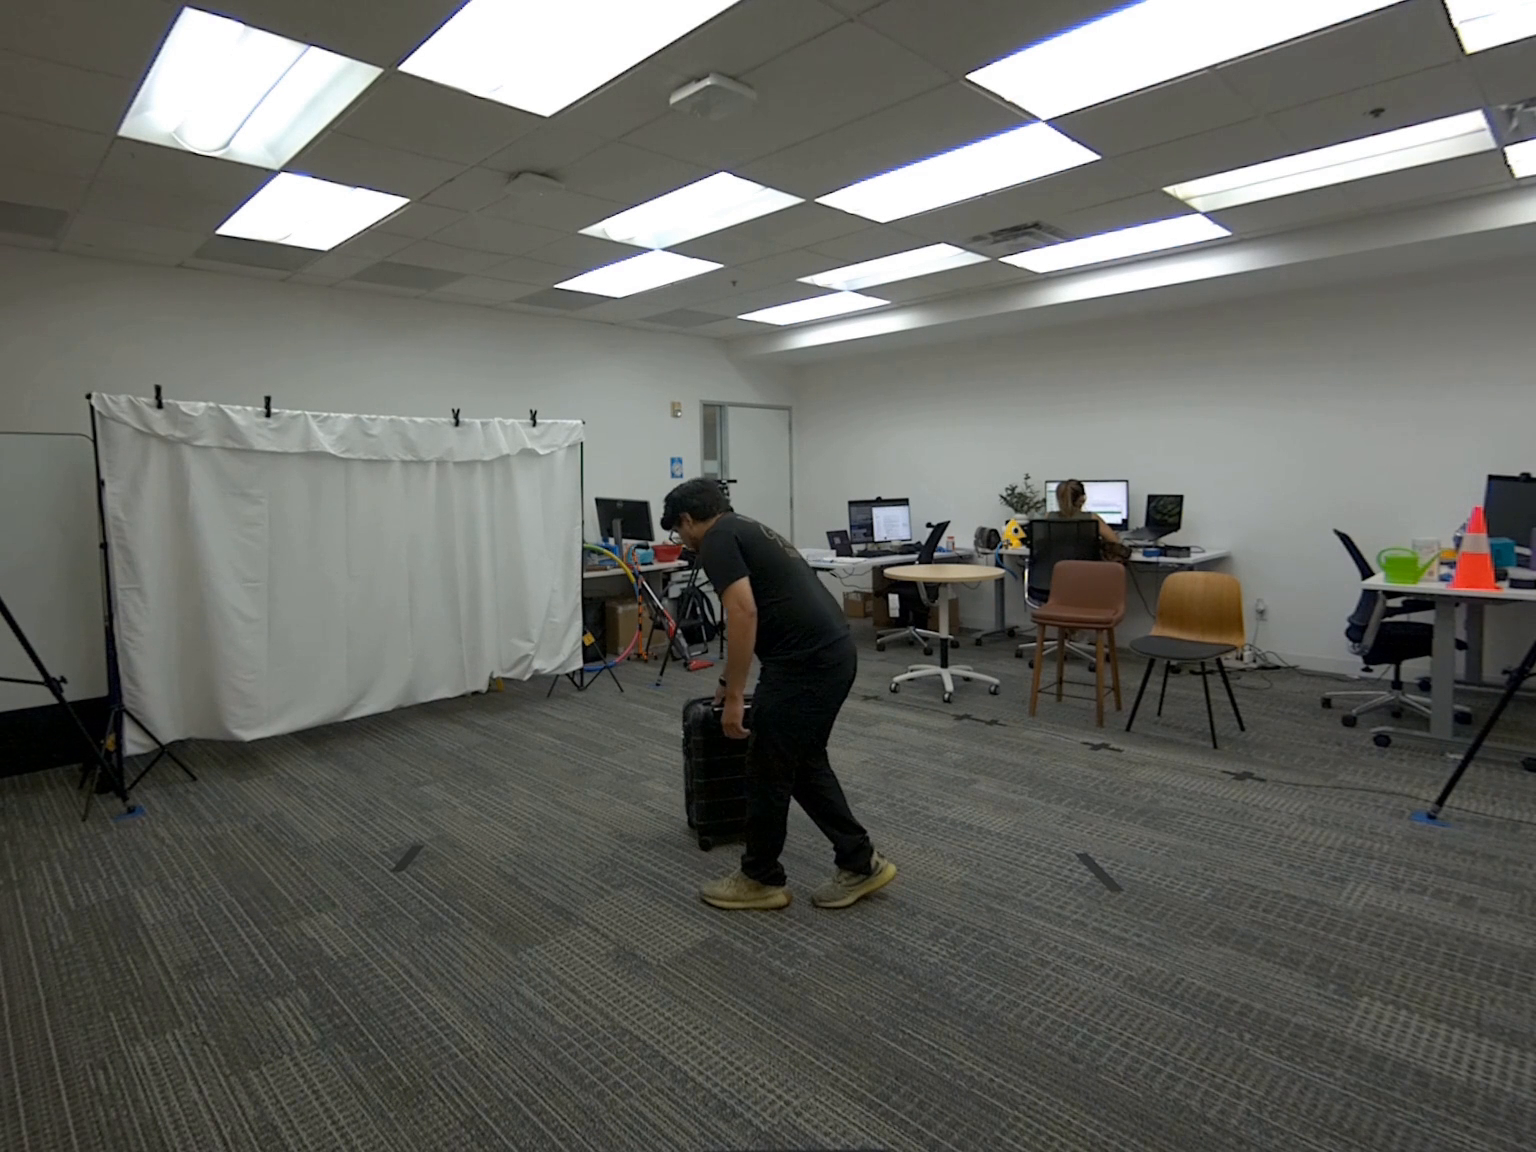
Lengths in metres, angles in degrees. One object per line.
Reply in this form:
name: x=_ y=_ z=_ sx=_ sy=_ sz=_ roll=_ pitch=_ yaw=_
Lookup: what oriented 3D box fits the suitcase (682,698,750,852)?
suitcase: x=-0.148 y=0.745 z=3.374 sx=0.371 sy=0.548 sz=0.252 roll=-3 pitch=3 yaw=-13
